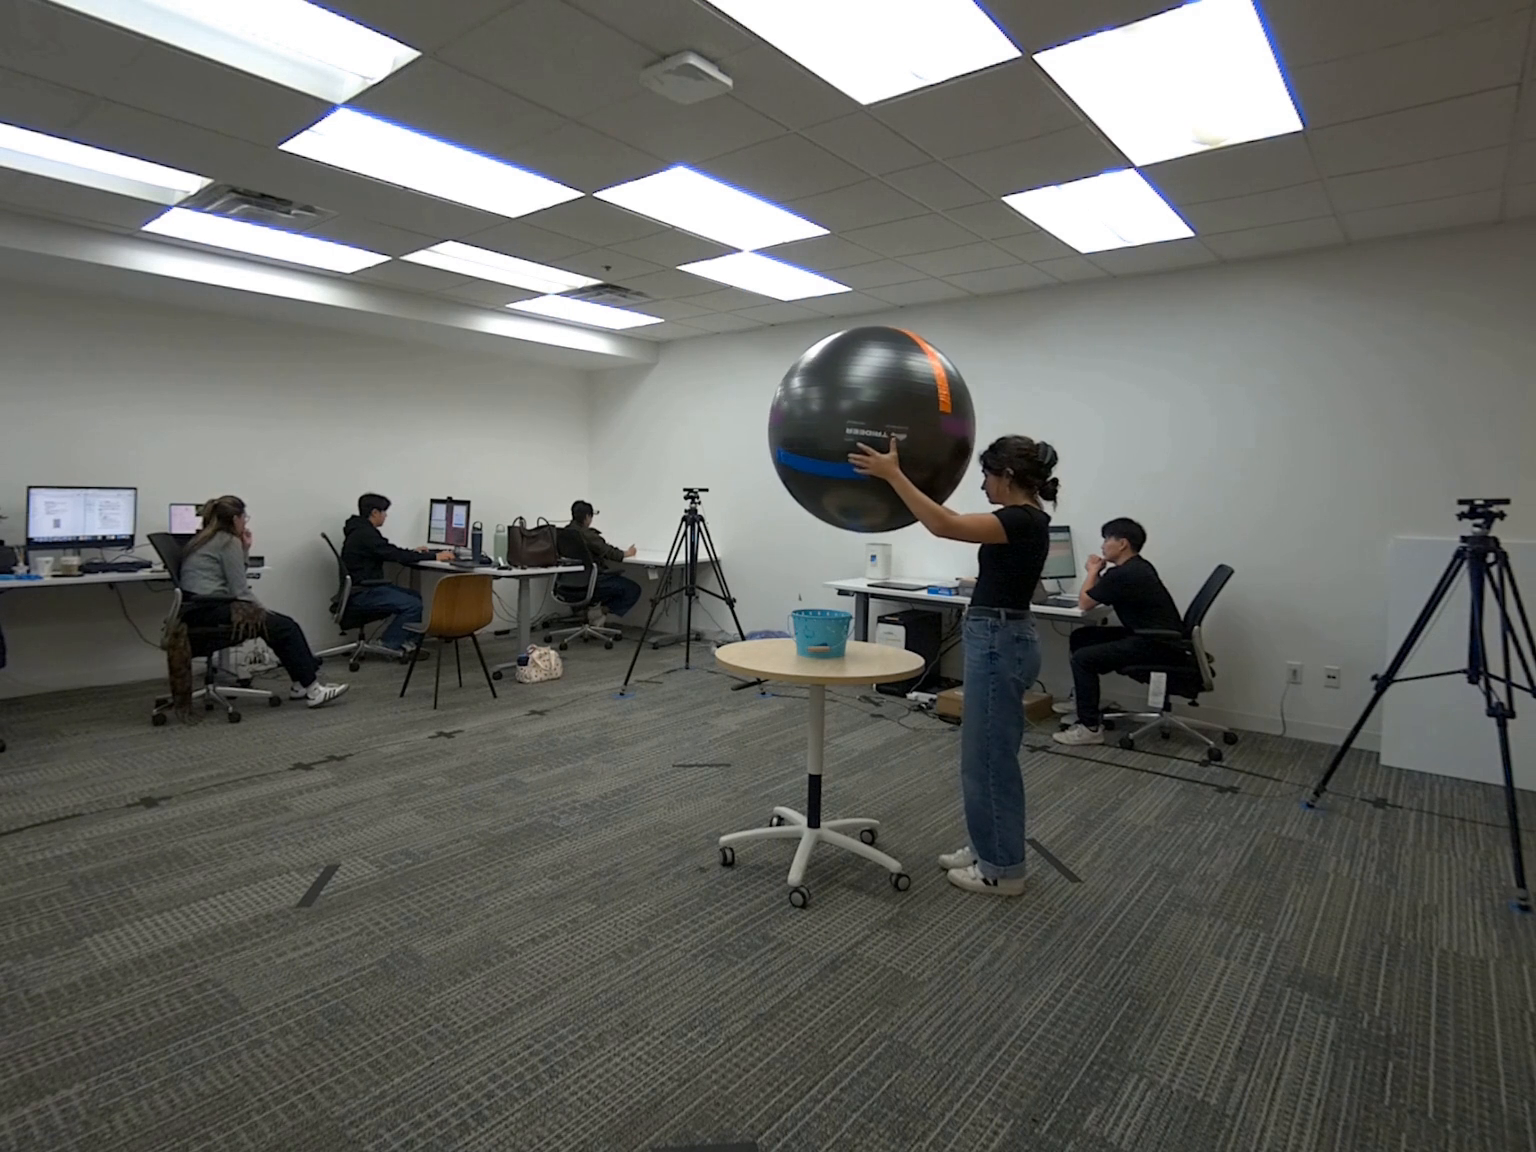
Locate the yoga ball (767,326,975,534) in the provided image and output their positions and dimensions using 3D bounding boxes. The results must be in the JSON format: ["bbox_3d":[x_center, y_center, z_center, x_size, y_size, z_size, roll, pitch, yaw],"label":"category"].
[{"bbox_3d":[0.380,-0.543,3.167,0.757,0.755,0.762,1,4,-2],"label":"yoga ball"}]
